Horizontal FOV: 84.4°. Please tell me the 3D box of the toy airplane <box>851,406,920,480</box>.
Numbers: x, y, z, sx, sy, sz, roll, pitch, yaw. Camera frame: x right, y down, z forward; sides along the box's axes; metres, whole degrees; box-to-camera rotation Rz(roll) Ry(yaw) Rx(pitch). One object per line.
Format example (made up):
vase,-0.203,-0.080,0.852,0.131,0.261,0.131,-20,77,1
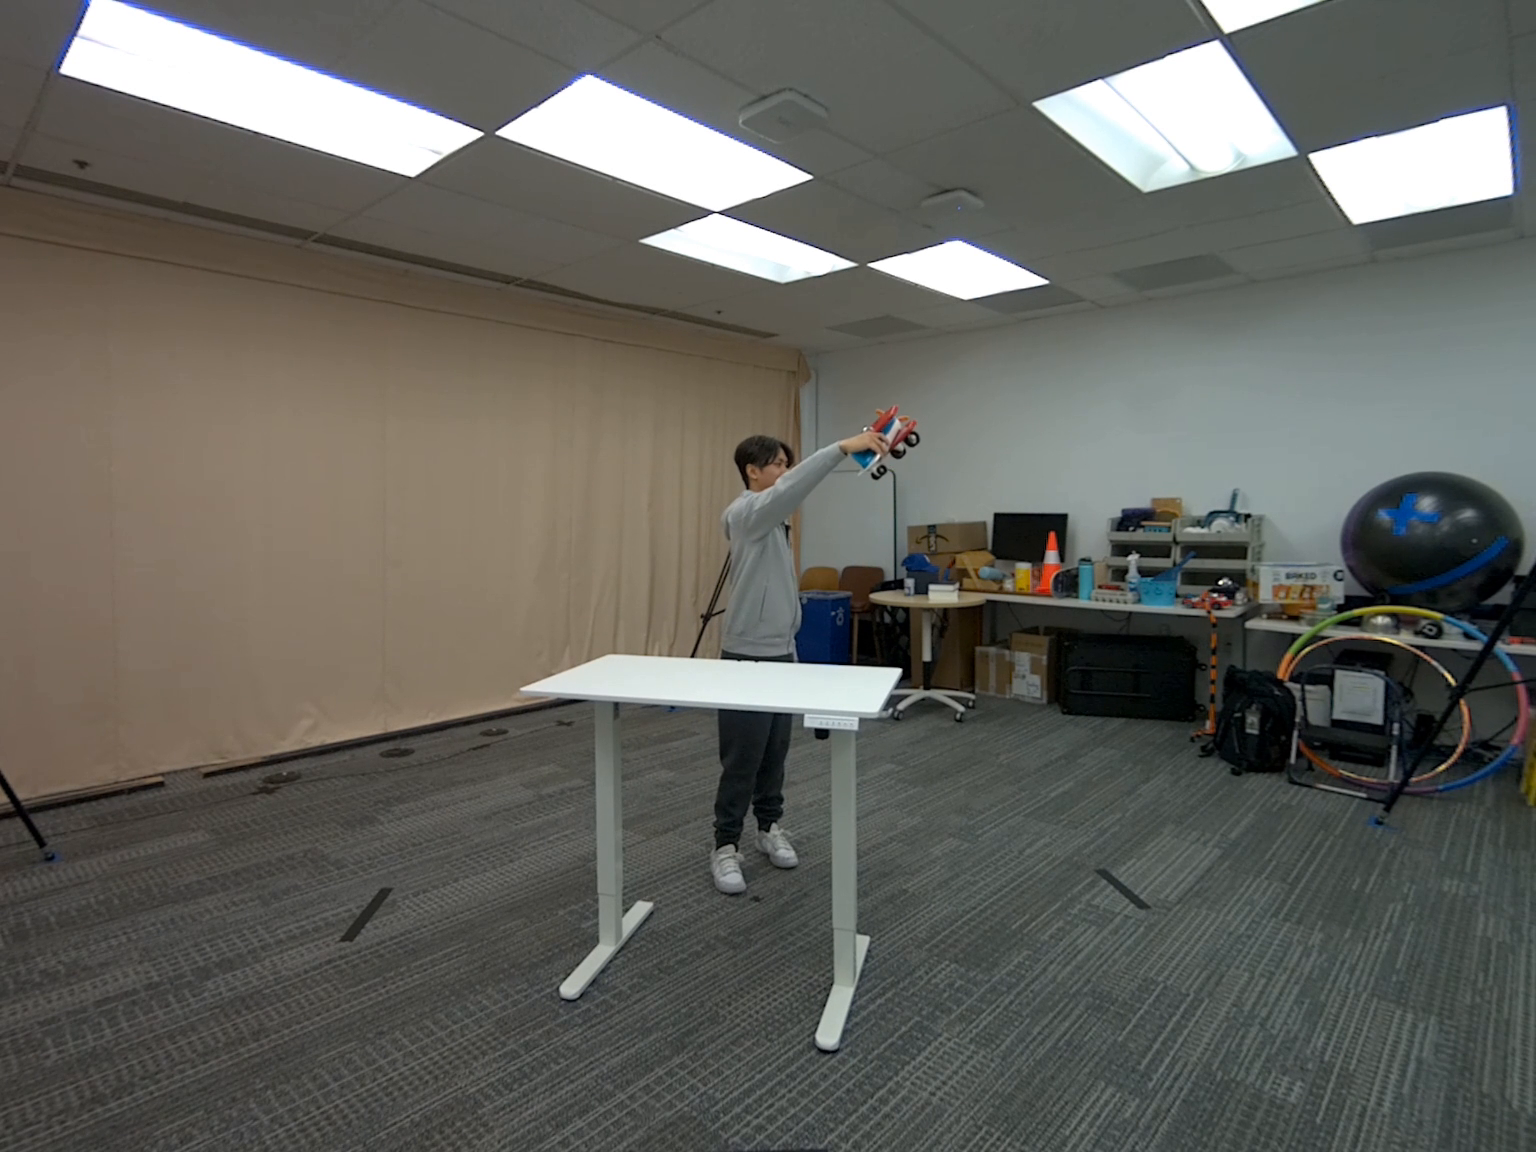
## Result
toy airplane,0.402,-0.440,2.841,0.253,0.157,0.256,-42,-1,30
